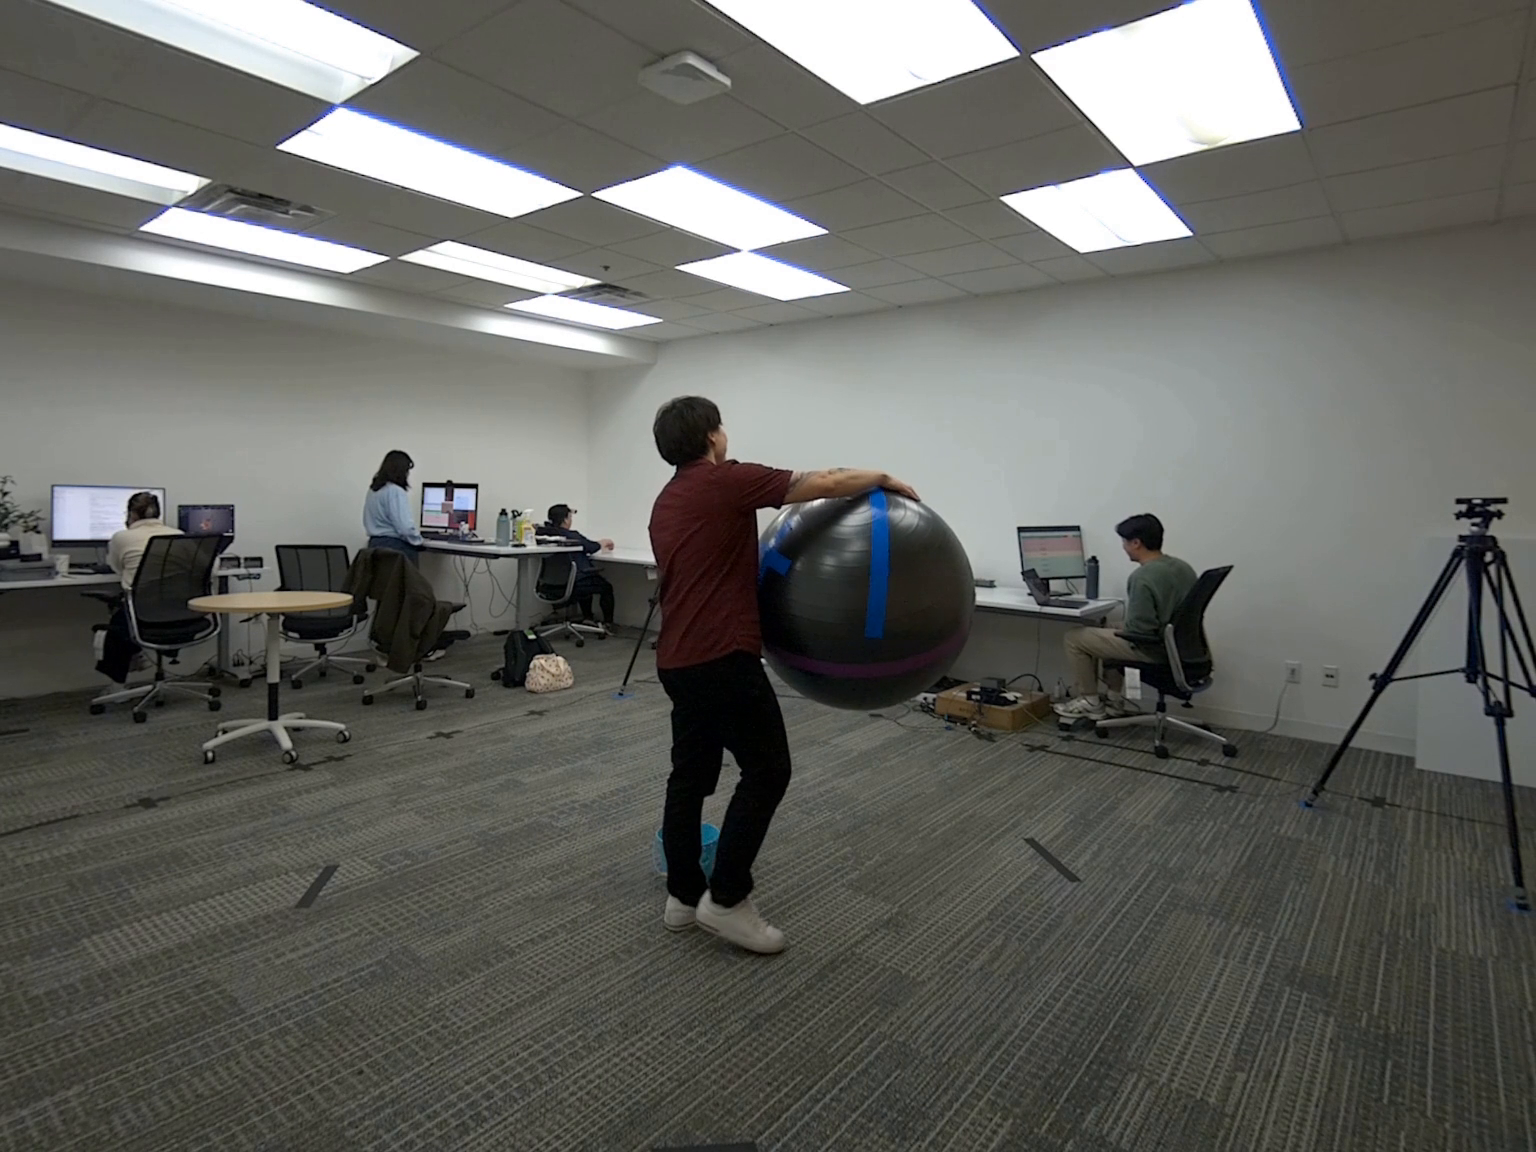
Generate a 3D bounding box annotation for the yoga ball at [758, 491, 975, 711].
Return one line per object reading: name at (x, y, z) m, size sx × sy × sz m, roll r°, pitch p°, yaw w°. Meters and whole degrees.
yoga ball at (0.309, 0.070, 2.861) m, size 0.757 × 0.756 × 0.761 m, roll 1°, pitch 4°, yaw -2°
